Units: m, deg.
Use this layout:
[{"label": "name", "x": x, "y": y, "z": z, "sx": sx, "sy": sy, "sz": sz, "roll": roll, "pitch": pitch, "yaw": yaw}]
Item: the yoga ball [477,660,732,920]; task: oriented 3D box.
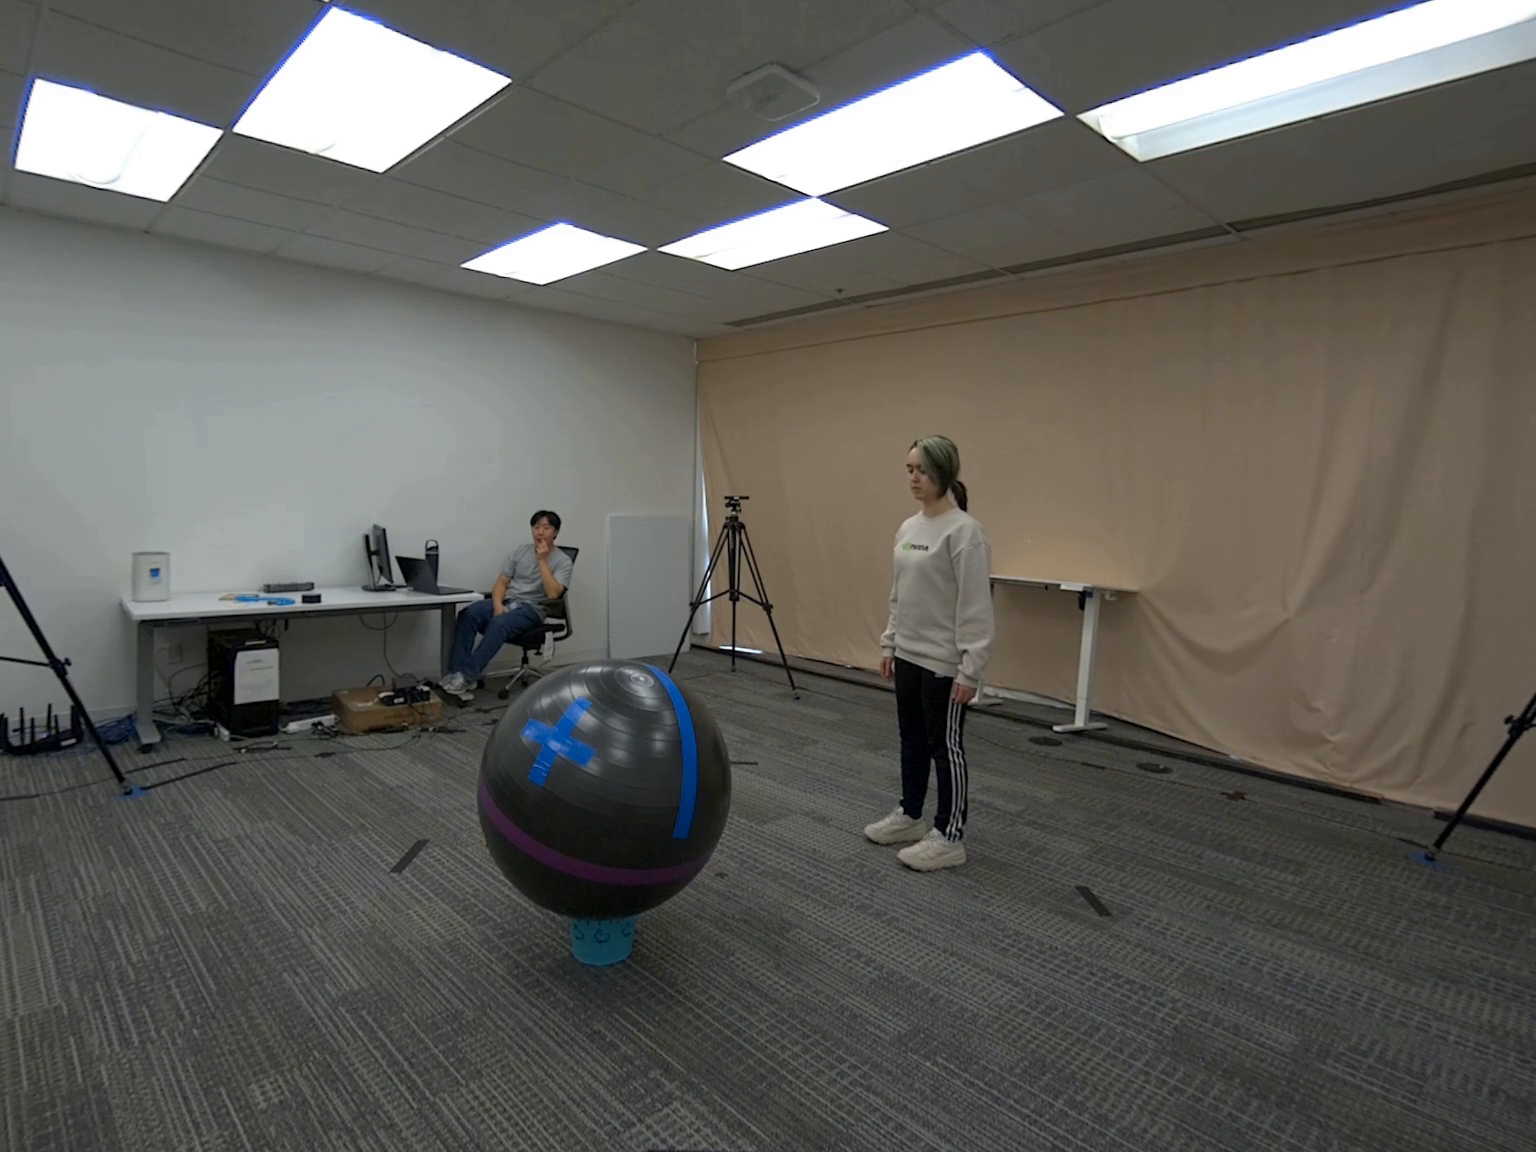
[{"label": "yoga ball", "x": -0.491, "y": 0.634, "z": 2.552, "sx": 0.757, "sy": 0.756, "sz": 0.761, "roll": 1, "pitch": 4, "yaw": -1}]
